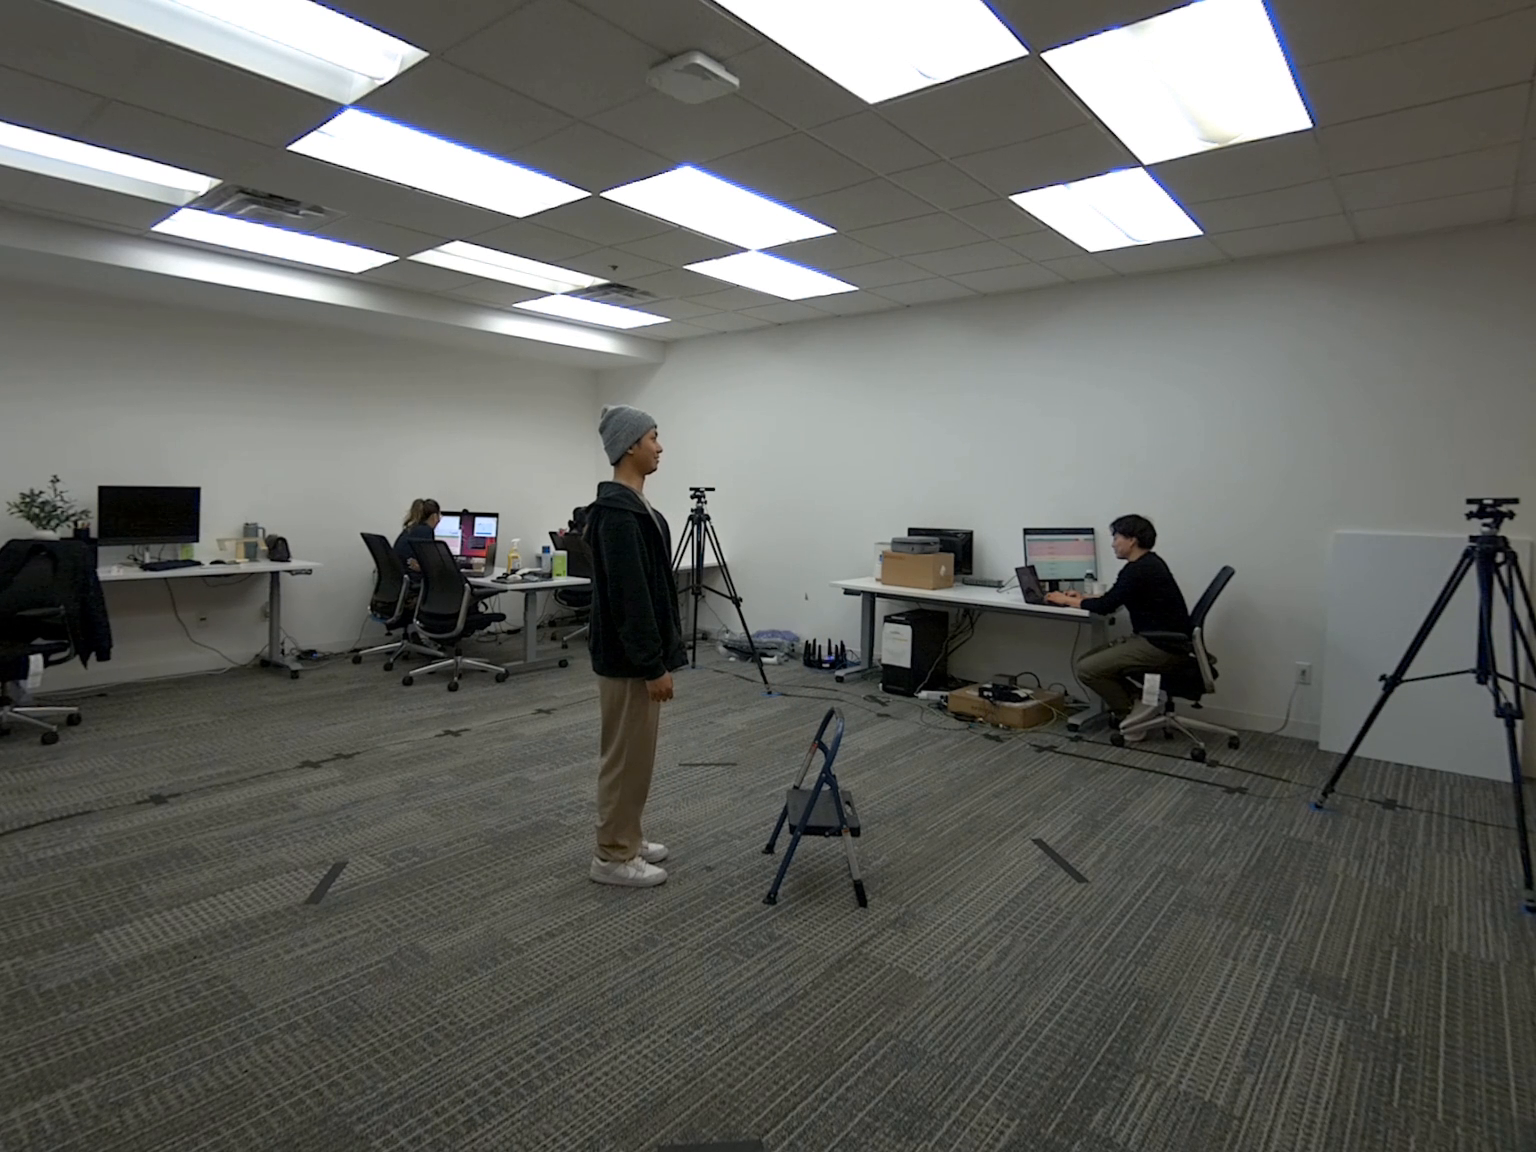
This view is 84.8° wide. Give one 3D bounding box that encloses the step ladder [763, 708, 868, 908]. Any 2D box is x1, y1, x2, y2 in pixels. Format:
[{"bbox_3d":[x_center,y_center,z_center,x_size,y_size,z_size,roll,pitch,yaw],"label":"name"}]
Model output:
[{"bbox_3d":[0.162,0.784,3.033,0.350,0.604,0.431,1,4,0],"label":"step ladder"}]
